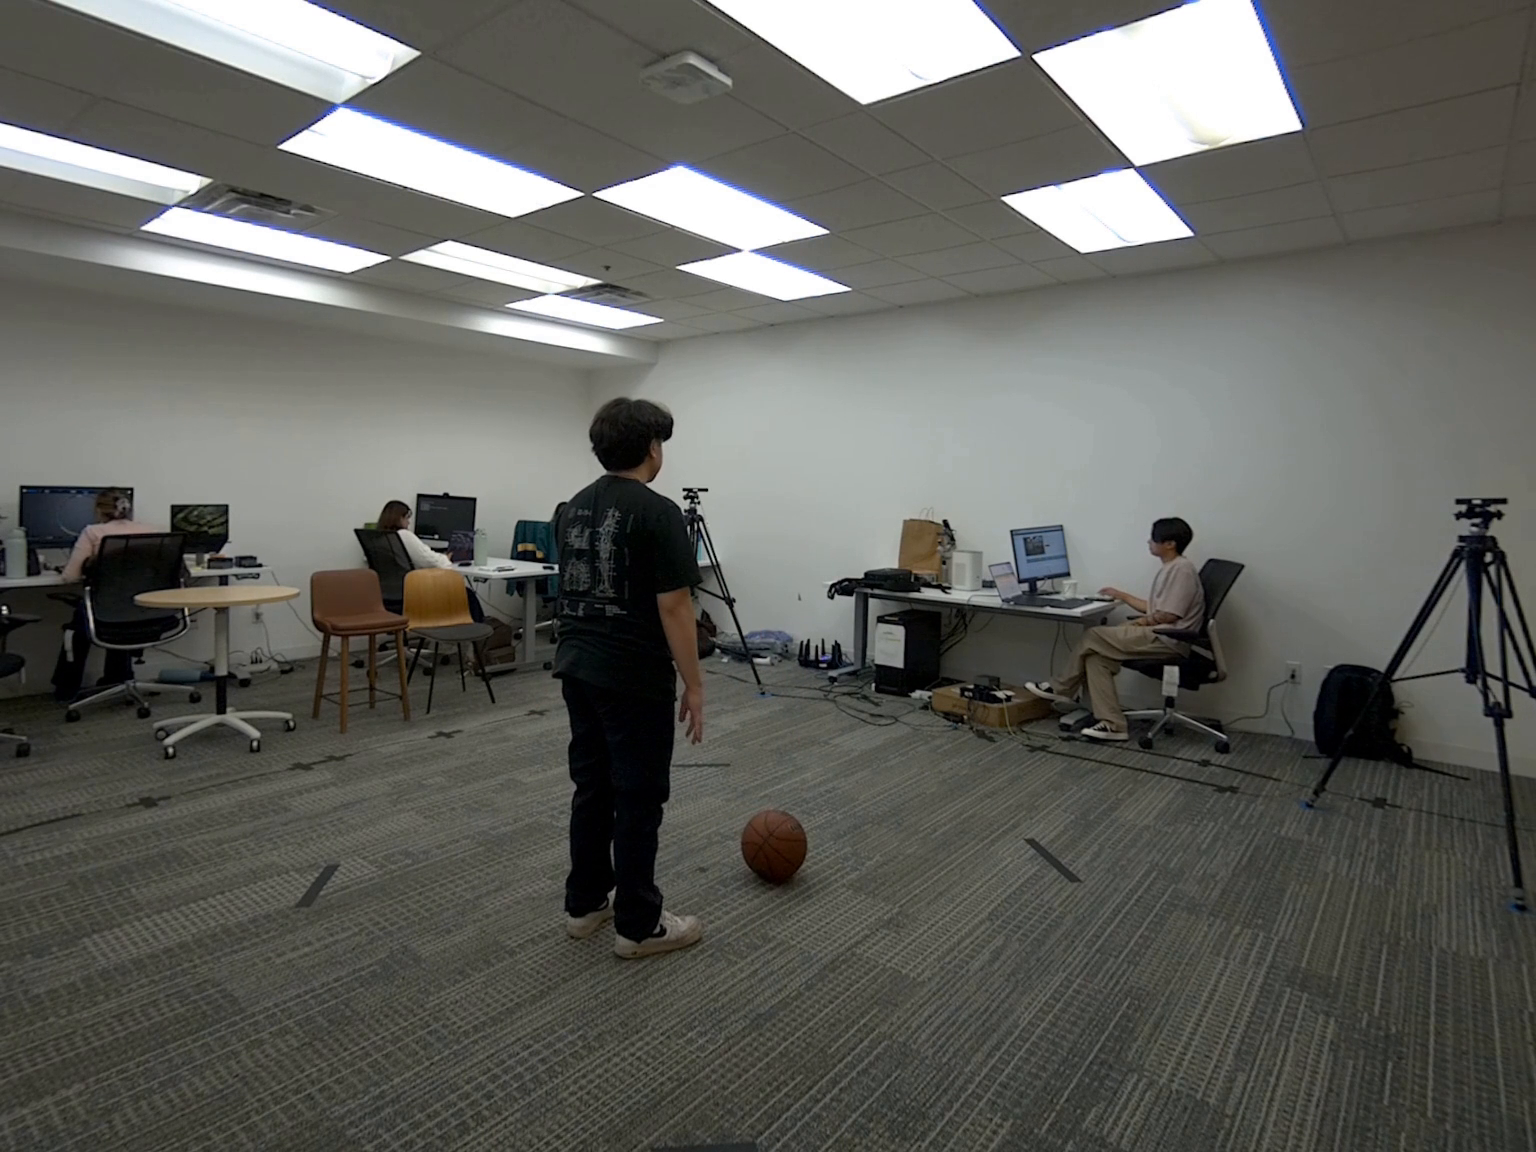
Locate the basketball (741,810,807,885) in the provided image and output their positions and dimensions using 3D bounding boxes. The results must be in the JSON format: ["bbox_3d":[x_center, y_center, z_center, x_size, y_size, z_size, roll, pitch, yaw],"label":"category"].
[{"bbox_3d":[0.011,0.958,3.052,0.235,0.235,0.237,1,4,-2],"label":"basketball"}]
